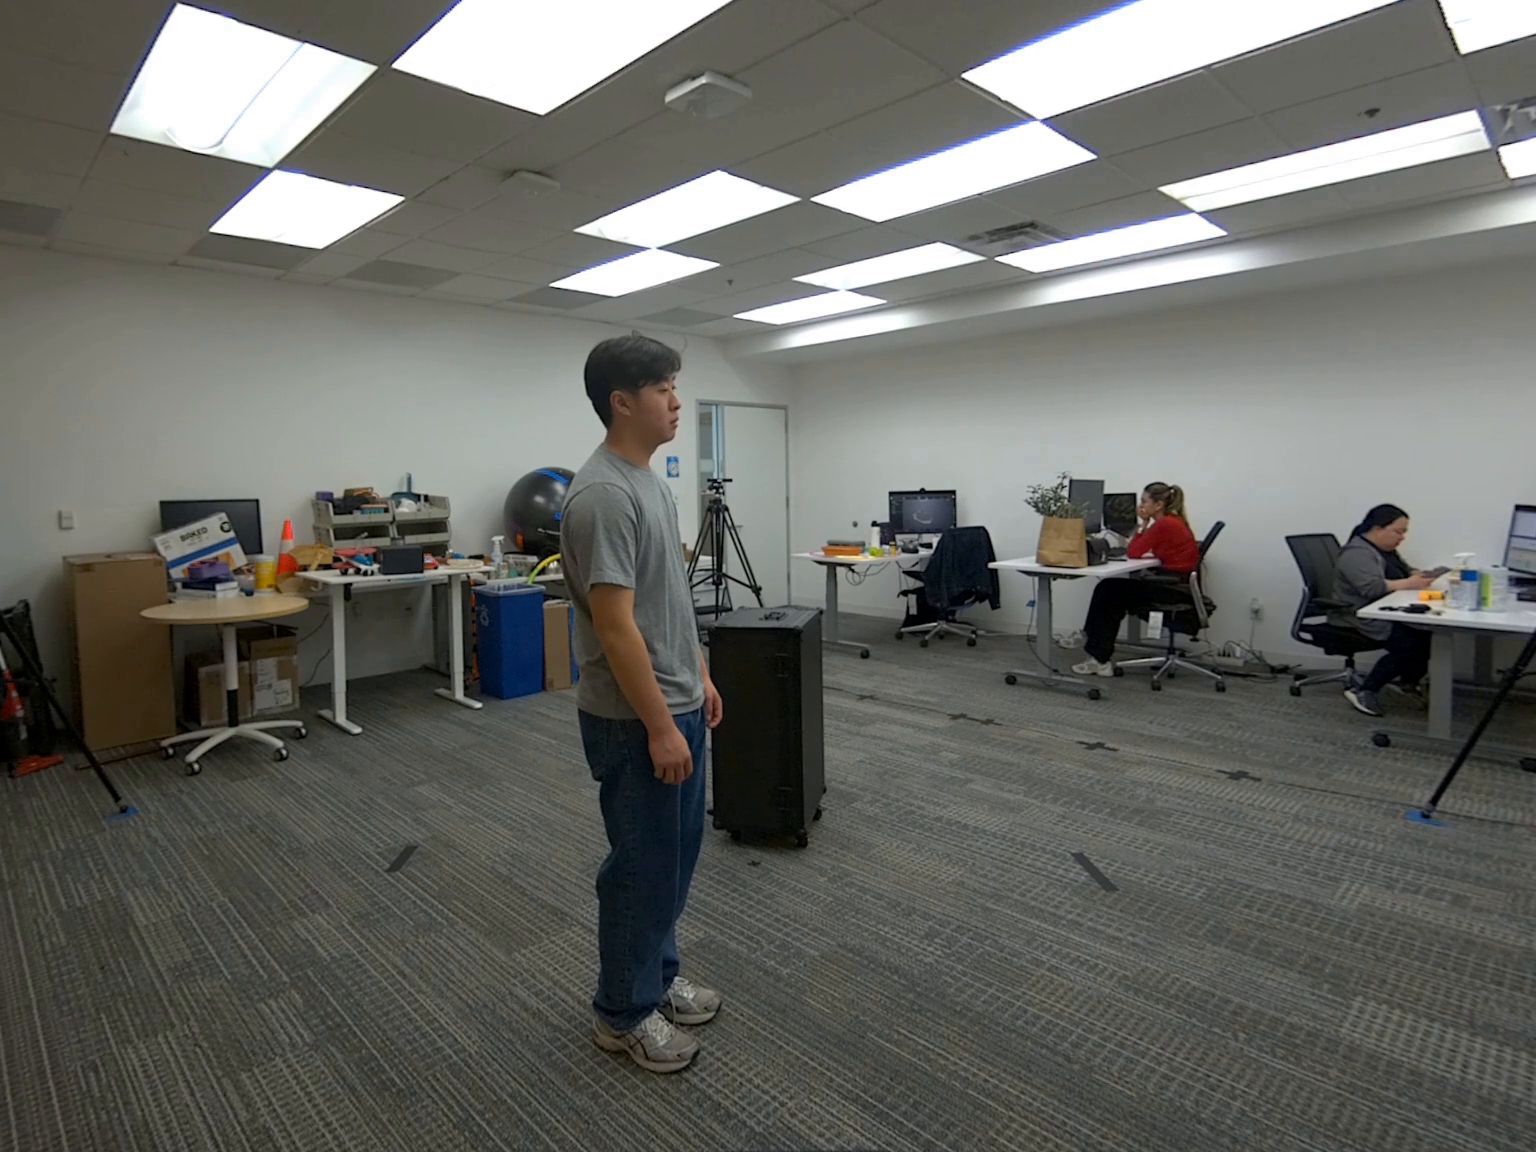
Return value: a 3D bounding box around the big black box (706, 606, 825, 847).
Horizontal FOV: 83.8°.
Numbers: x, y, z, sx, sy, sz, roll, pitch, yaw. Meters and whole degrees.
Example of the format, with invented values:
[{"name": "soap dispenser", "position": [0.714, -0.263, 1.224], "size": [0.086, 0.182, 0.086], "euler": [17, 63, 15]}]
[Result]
[{"name": "big black box", "position": [0.003, 0.583, 3.407], "size": [0.402, 0.858, 0.515], "euler": [-1, 4, 15]}]
